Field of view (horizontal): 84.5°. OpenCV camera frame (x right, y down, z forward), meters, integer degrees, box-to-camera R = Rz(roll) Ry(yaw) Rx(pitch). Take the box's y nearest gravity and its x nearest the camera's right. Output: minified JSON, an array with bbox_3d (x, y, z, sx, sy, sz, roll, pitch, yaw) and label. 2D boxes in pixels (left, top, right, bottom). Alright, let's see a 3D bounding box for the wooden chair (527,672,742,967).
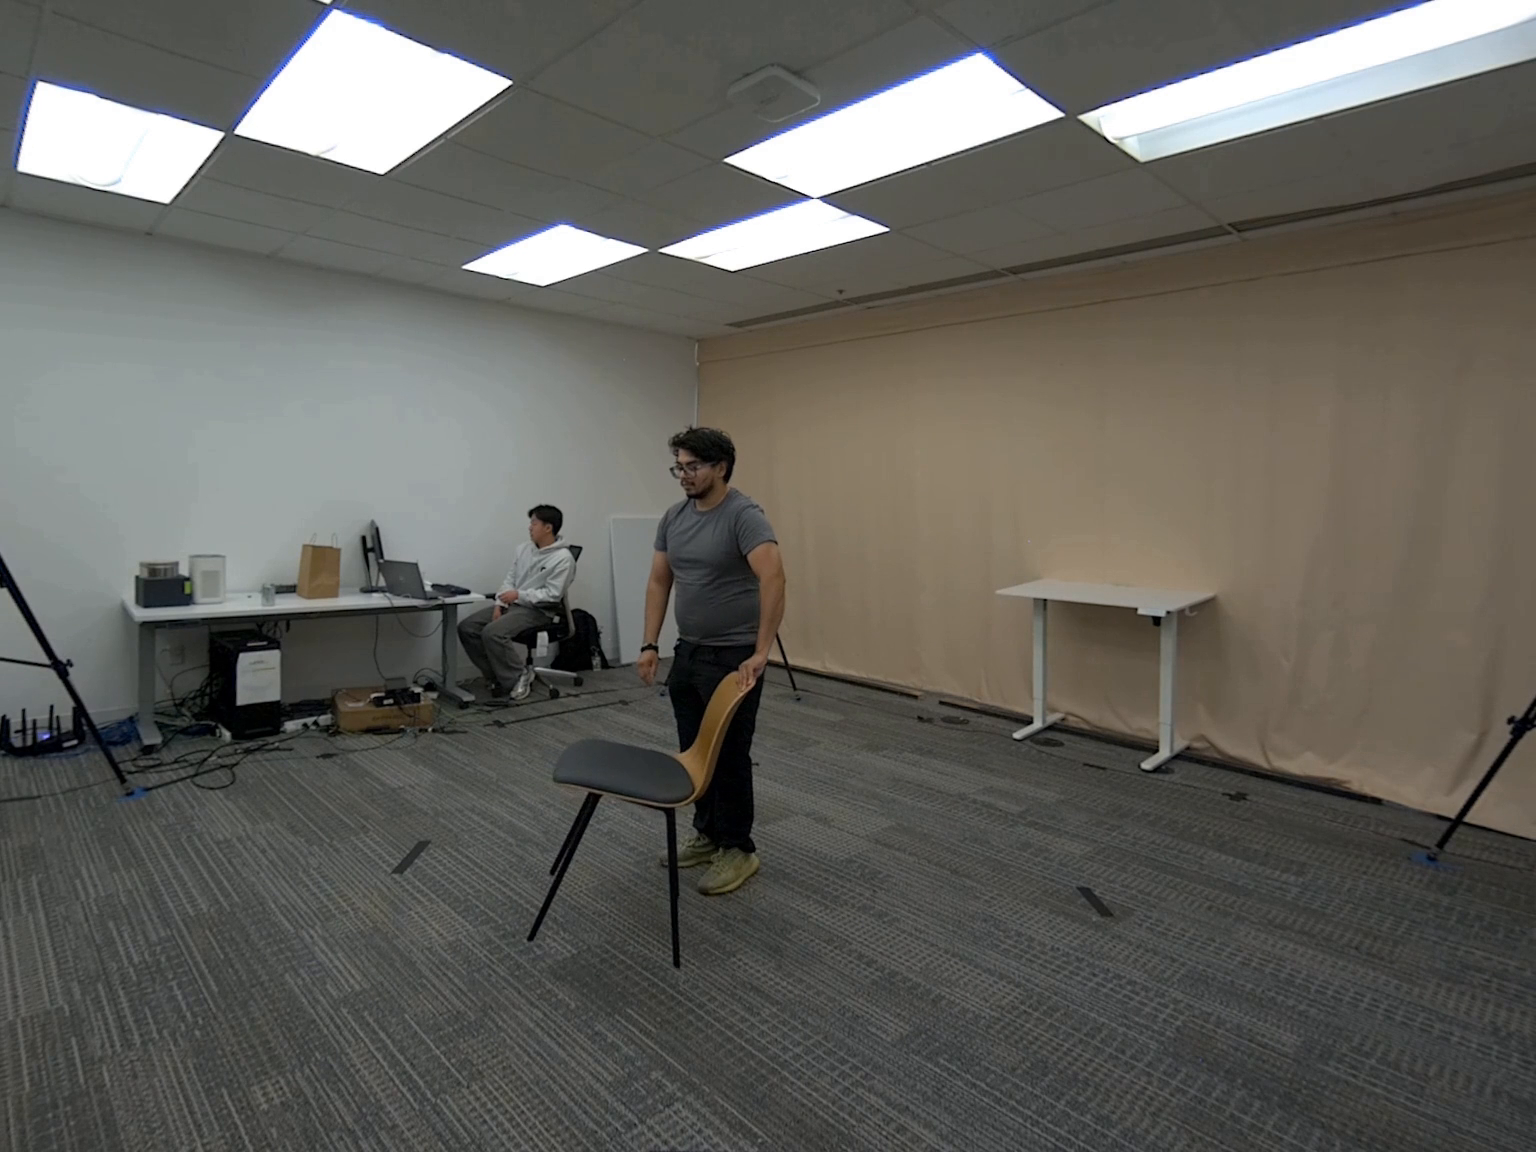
[{"bbox_3d":[-0.420,0.680,2.658,0.521,0.876,0.481,16,2,-5],"label":"wooden chair"}]
